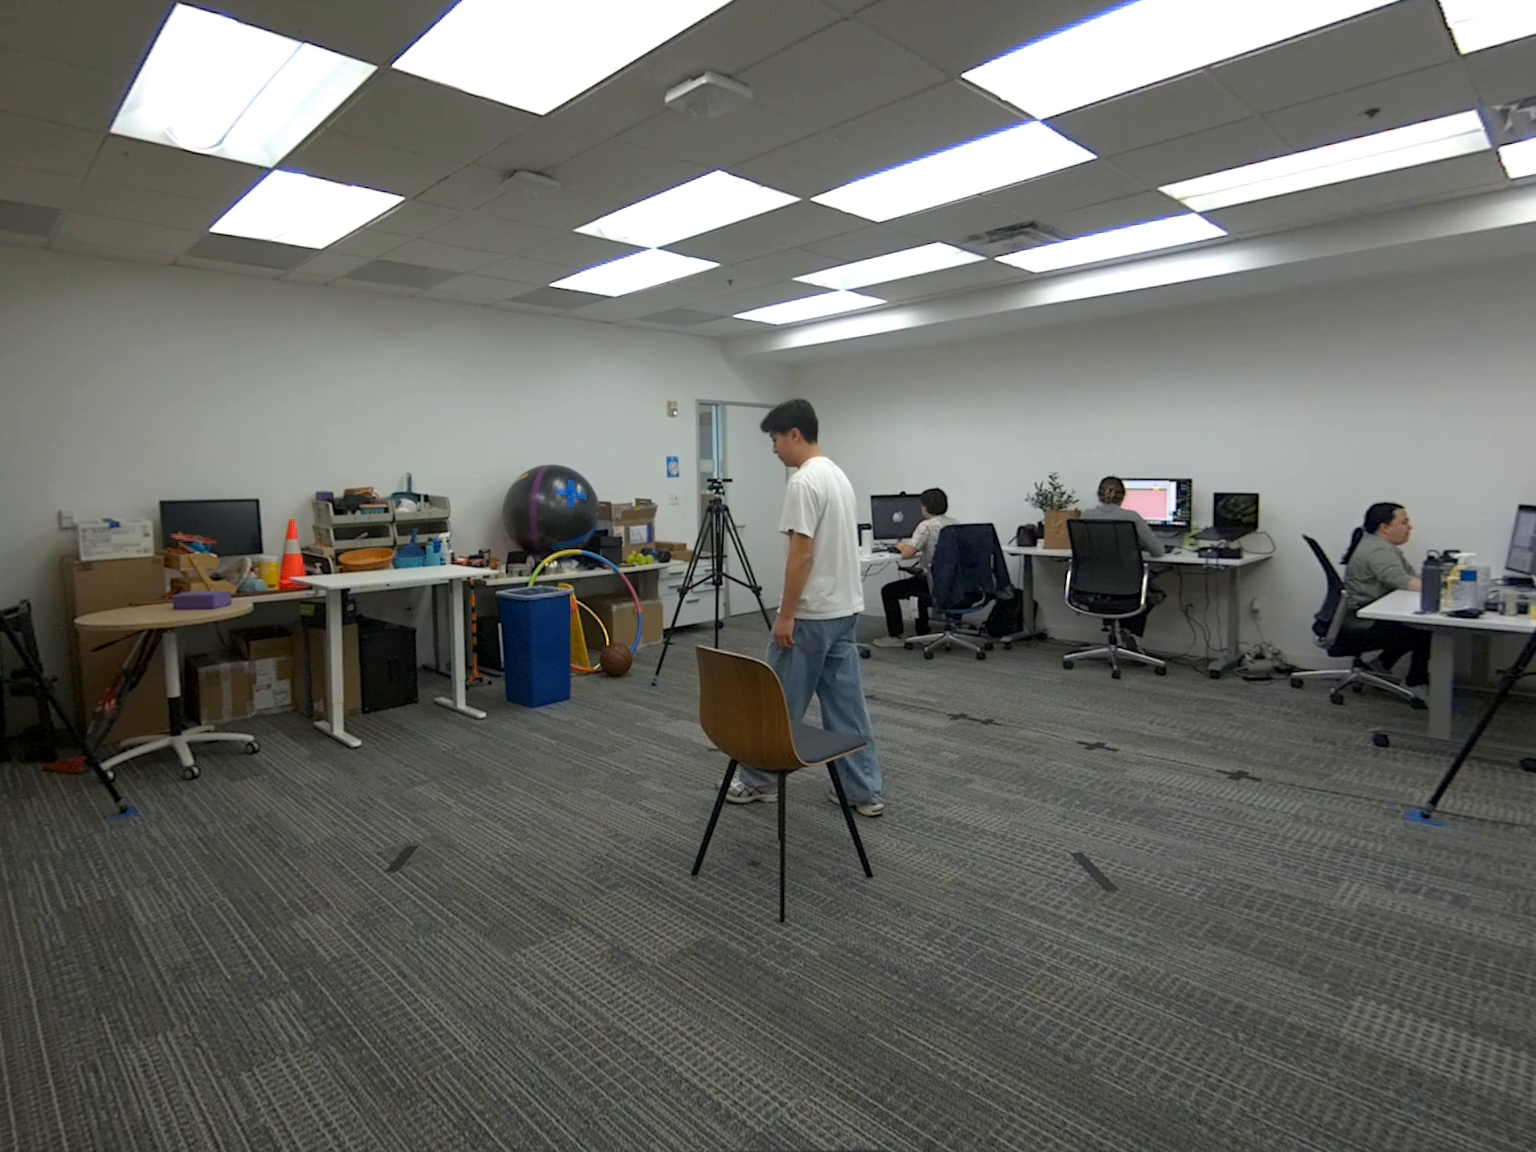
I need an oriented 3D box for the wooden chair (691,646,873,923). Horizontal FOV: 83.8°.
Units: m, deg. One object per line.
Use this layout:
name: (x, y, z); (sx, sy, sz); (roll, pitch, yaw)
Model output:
wooden chair: (0.048, 0.633, 2.974); (0.511, 0.871, 0.493); (-10, 10, -43)
